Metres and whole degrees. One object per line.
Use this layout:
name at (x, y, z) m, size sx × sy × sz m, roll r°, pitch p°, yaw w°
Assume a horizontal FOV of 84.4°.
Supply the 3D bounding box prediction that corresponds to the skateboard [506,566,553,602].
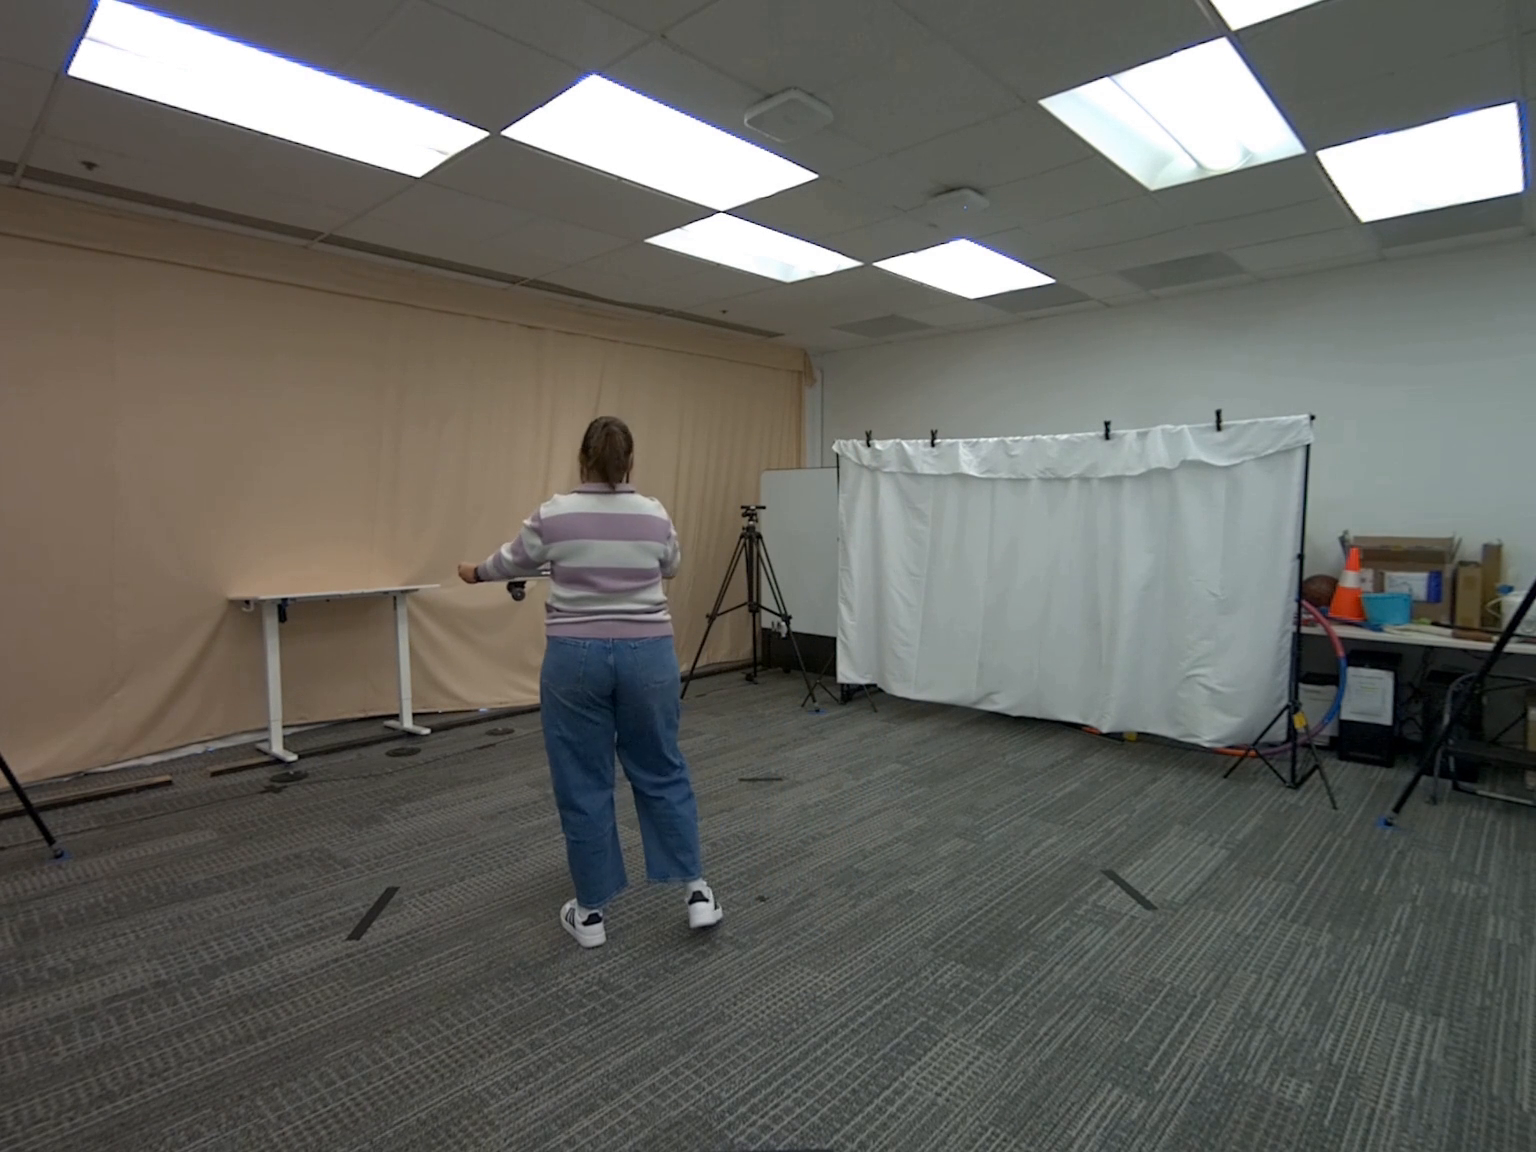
skateboard at (-0.823, 0.016, 3.225) m, size 0.765 × 0.110 × 0.199 m, roll 0°, pitch 5°, yaw -27°
